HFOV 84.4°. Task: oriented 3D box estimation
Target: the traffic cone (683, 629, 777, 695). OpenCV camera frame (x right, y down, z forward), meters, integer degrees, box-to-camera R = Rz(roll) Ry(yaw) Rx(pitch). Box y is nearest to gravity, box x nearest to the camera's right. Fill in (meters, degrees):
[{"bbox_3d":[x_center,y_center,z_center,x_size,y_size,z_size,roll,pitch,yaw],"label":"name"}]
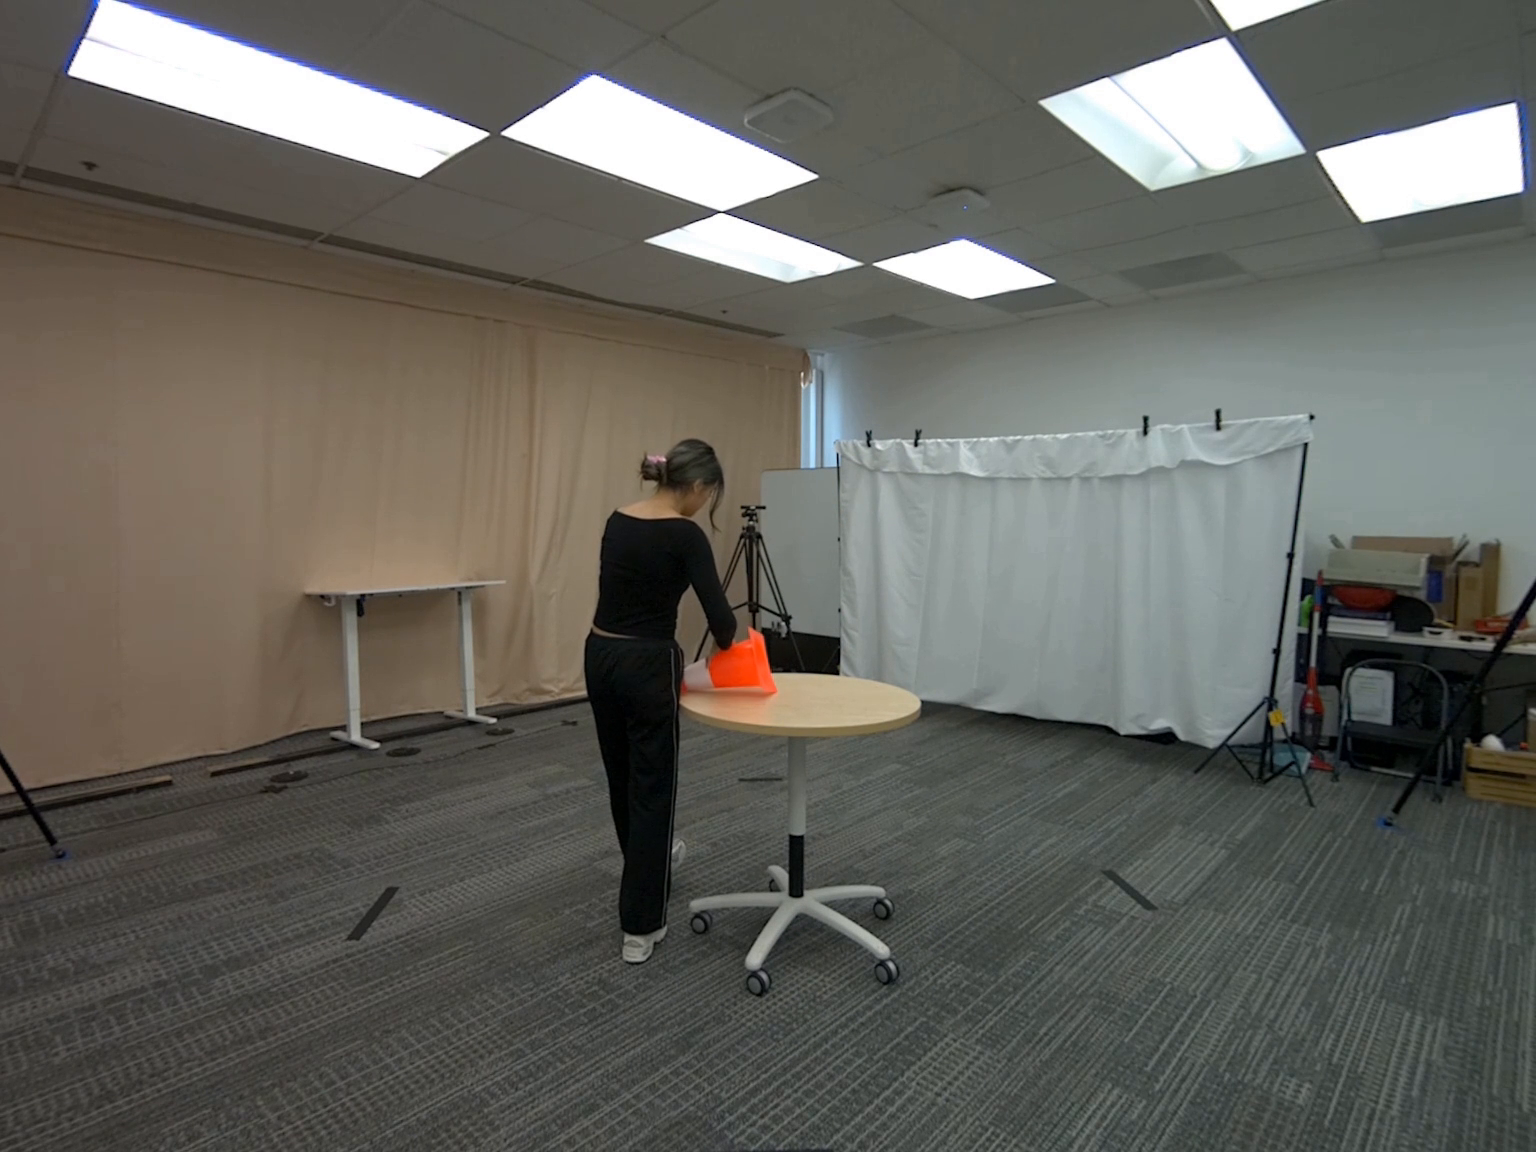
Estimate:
[{"bbox_3d":[-0.193,0.317,2.720,0.387,0.204,0.202,-14,-2,11],"label":"traffic cone"}]
